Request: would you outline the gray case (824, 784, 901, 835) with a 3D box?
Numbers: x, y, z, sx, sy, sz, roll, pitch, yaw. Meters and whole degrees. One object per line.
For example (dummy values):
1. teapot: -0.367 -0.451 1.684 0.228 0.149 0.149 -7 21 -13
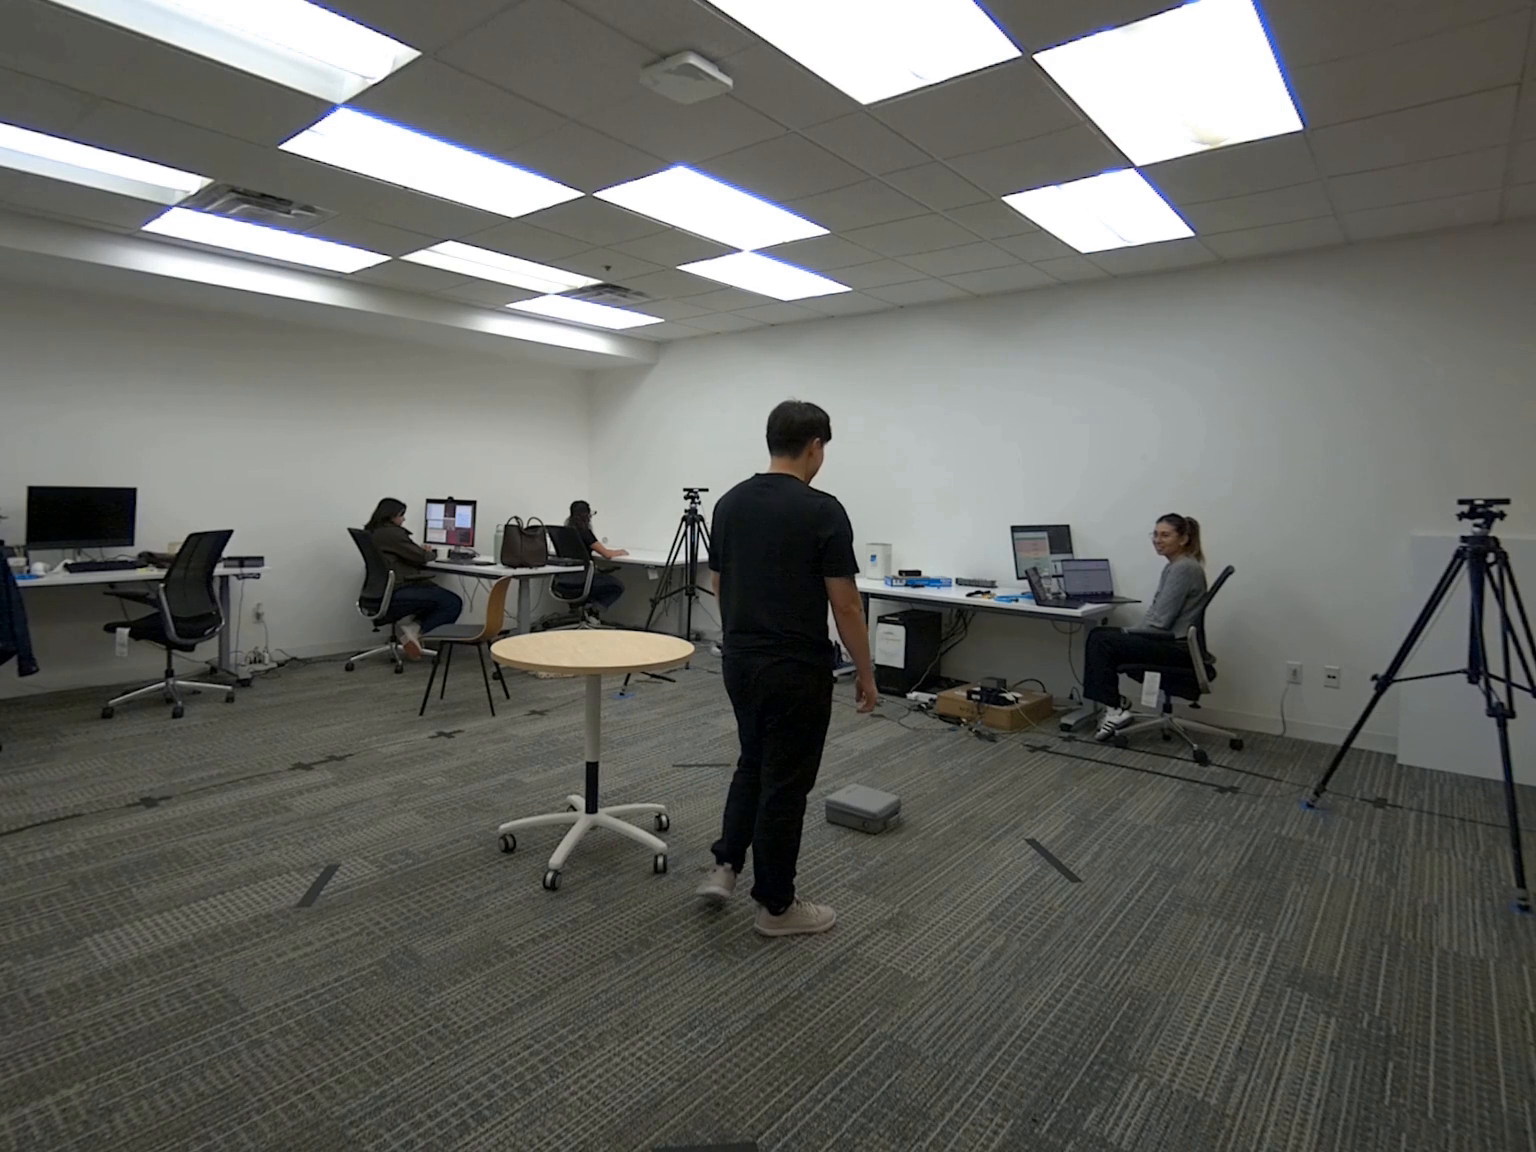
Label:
1. gray case: 0.402 0.979 3.615 0.269 0.104 0.249 6 6 35
